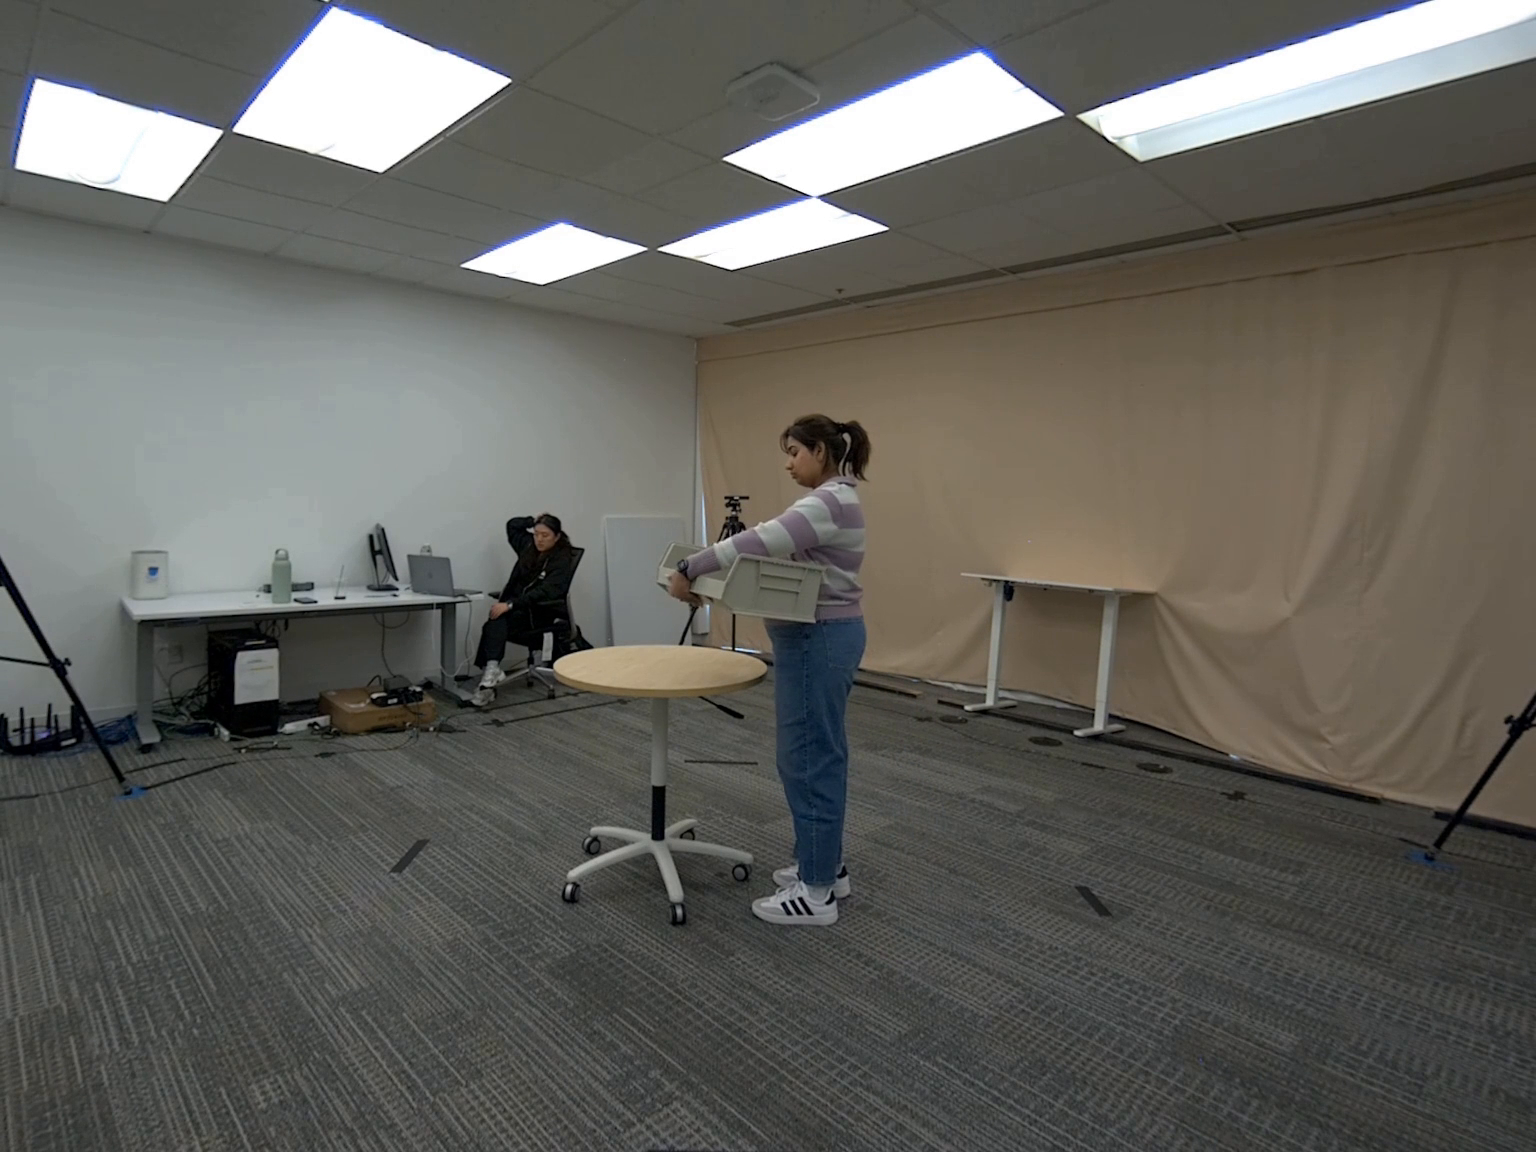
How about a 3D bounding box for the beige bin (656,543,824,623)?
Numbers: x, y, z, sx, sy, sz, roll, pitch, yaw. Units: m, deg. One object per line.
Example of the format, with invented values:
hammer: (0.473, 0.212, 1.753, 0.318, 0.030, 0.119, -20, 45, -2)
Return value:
beige bin: (-0.094, 0.021, 2.692, 0.368, 0.189, 0.433, 10, -1, -36)
